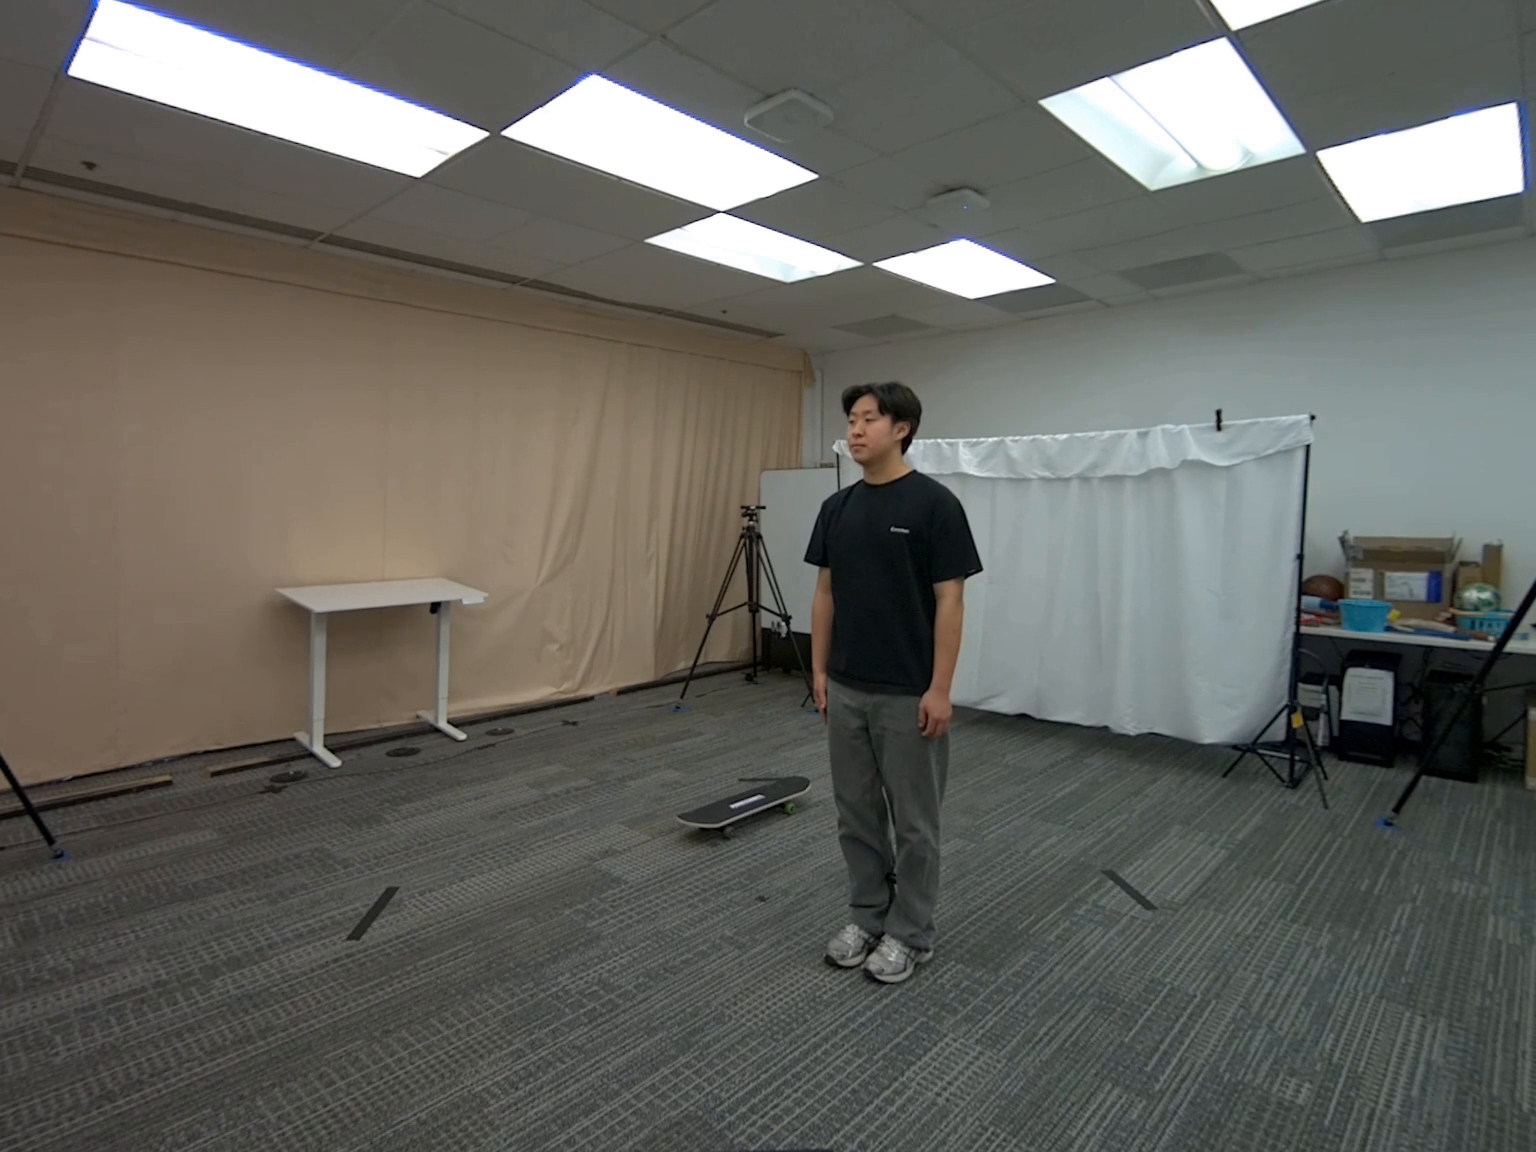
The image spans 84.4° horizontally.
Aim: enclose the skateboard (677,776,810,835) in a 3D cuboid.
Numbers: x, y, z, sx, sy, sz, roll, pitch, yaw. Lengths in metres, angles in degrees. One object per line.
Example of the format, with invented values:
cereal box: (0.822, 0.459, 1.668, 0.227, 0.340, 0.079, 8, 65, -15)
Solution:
skateboard: (-0.089, 1.032, 3.723, 0.200, 0.110, 0.761, 3, 5, 43)
